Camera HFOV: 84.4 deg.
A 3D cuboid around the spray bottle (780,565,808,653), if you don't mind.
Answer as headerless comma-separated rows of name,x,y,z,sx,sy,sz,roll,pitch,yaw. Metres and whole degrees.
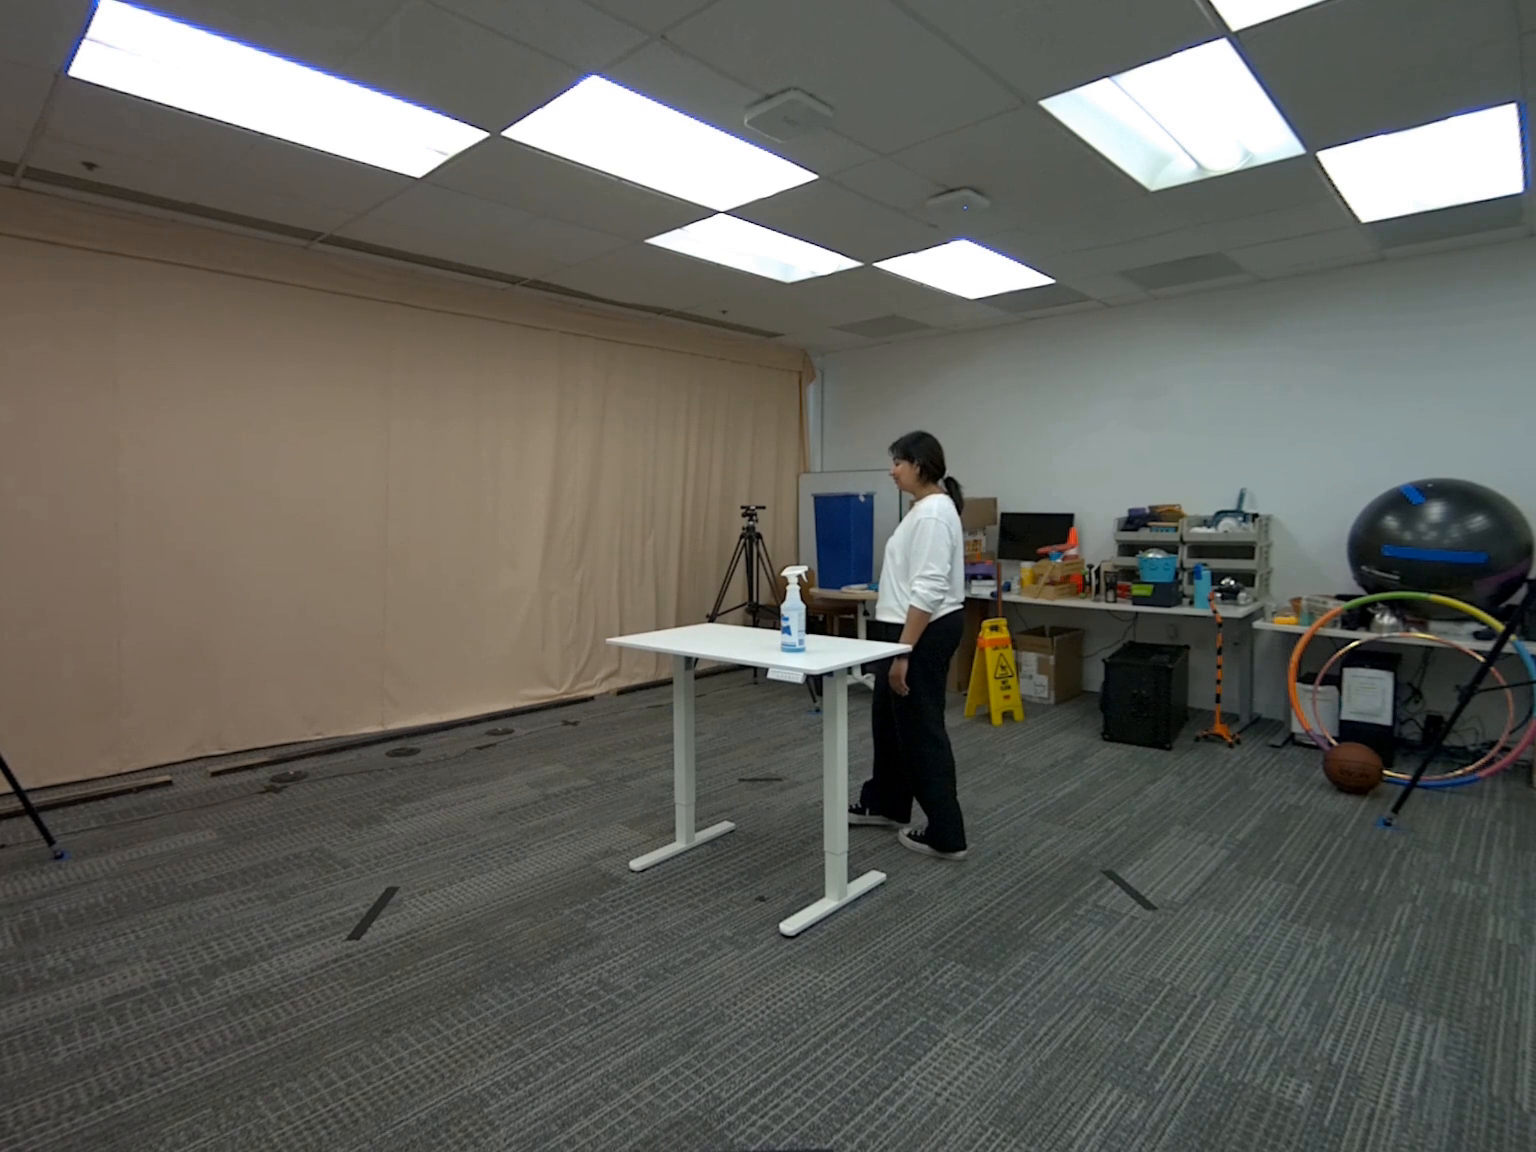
spray bottle,0.099,0.117,2.939,0.092,0.297,0.085,2,3,22
